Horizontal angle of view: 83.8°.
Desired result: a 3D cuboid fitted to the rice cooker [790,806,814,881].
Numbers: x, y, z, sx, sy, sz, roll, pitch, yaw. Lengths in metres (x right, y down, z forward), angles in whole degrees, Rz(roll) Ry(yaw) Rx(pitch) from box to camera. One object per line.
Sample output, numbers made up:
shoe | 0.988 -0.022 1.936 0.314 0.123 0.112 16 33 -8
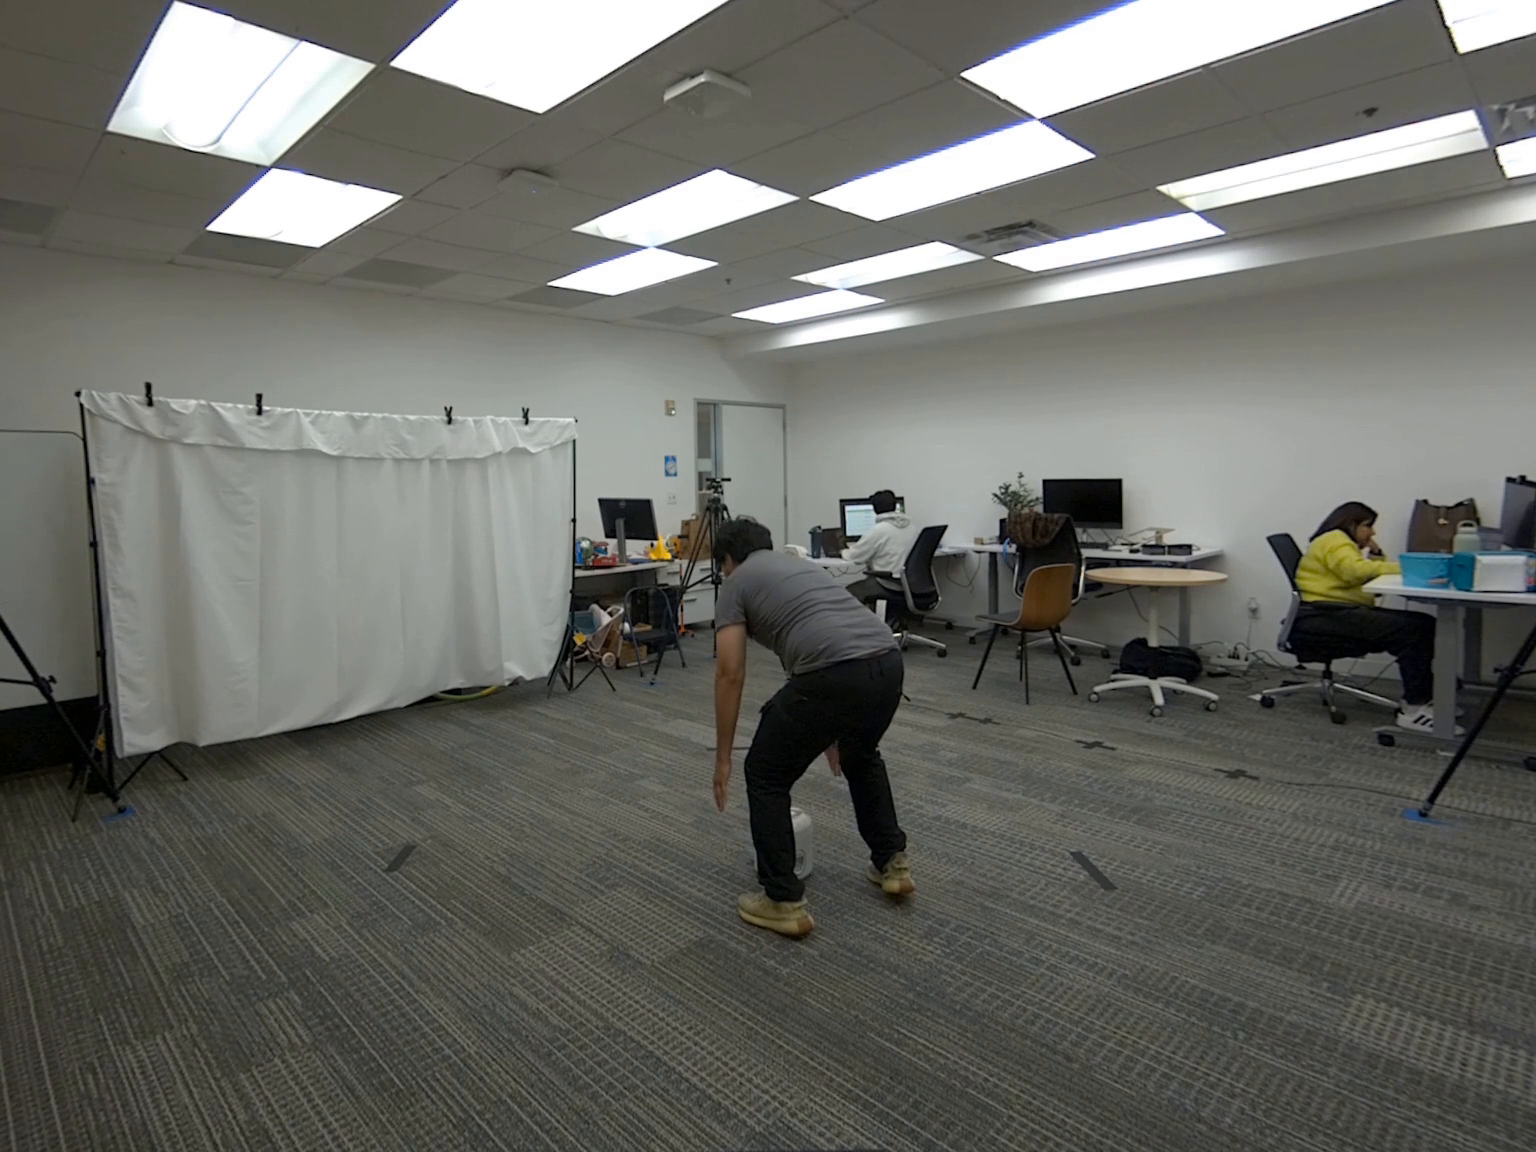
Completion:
rice cooker | 0.056 0.941 3.021 0.216 0.232 0.223 -5 5 -25
